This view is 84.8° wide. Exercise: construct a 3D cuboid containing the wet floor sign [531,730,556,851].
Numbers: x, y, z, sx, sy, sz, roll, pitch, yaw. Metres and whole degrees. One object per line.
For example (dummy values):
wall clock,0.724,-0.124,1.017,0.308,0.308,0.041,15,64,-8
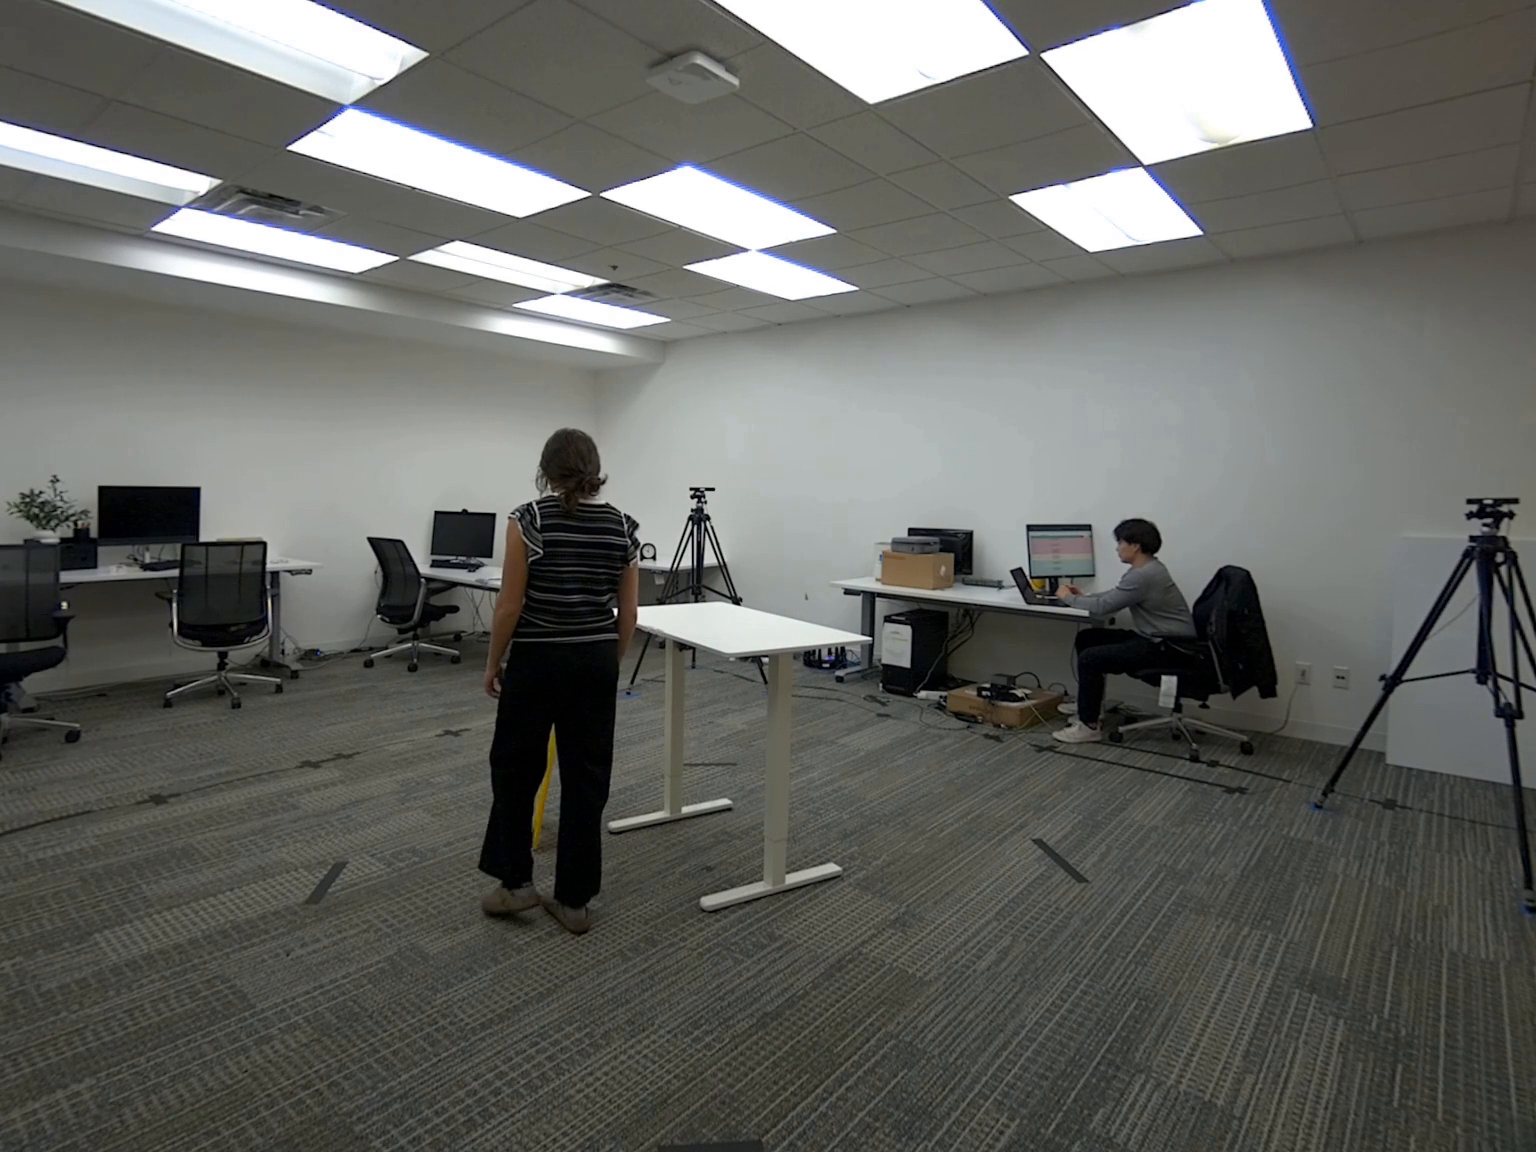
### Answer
wet floor sign,-0.818,0.703,3.378,0.286,0.644,0.287,-1,3,-14
